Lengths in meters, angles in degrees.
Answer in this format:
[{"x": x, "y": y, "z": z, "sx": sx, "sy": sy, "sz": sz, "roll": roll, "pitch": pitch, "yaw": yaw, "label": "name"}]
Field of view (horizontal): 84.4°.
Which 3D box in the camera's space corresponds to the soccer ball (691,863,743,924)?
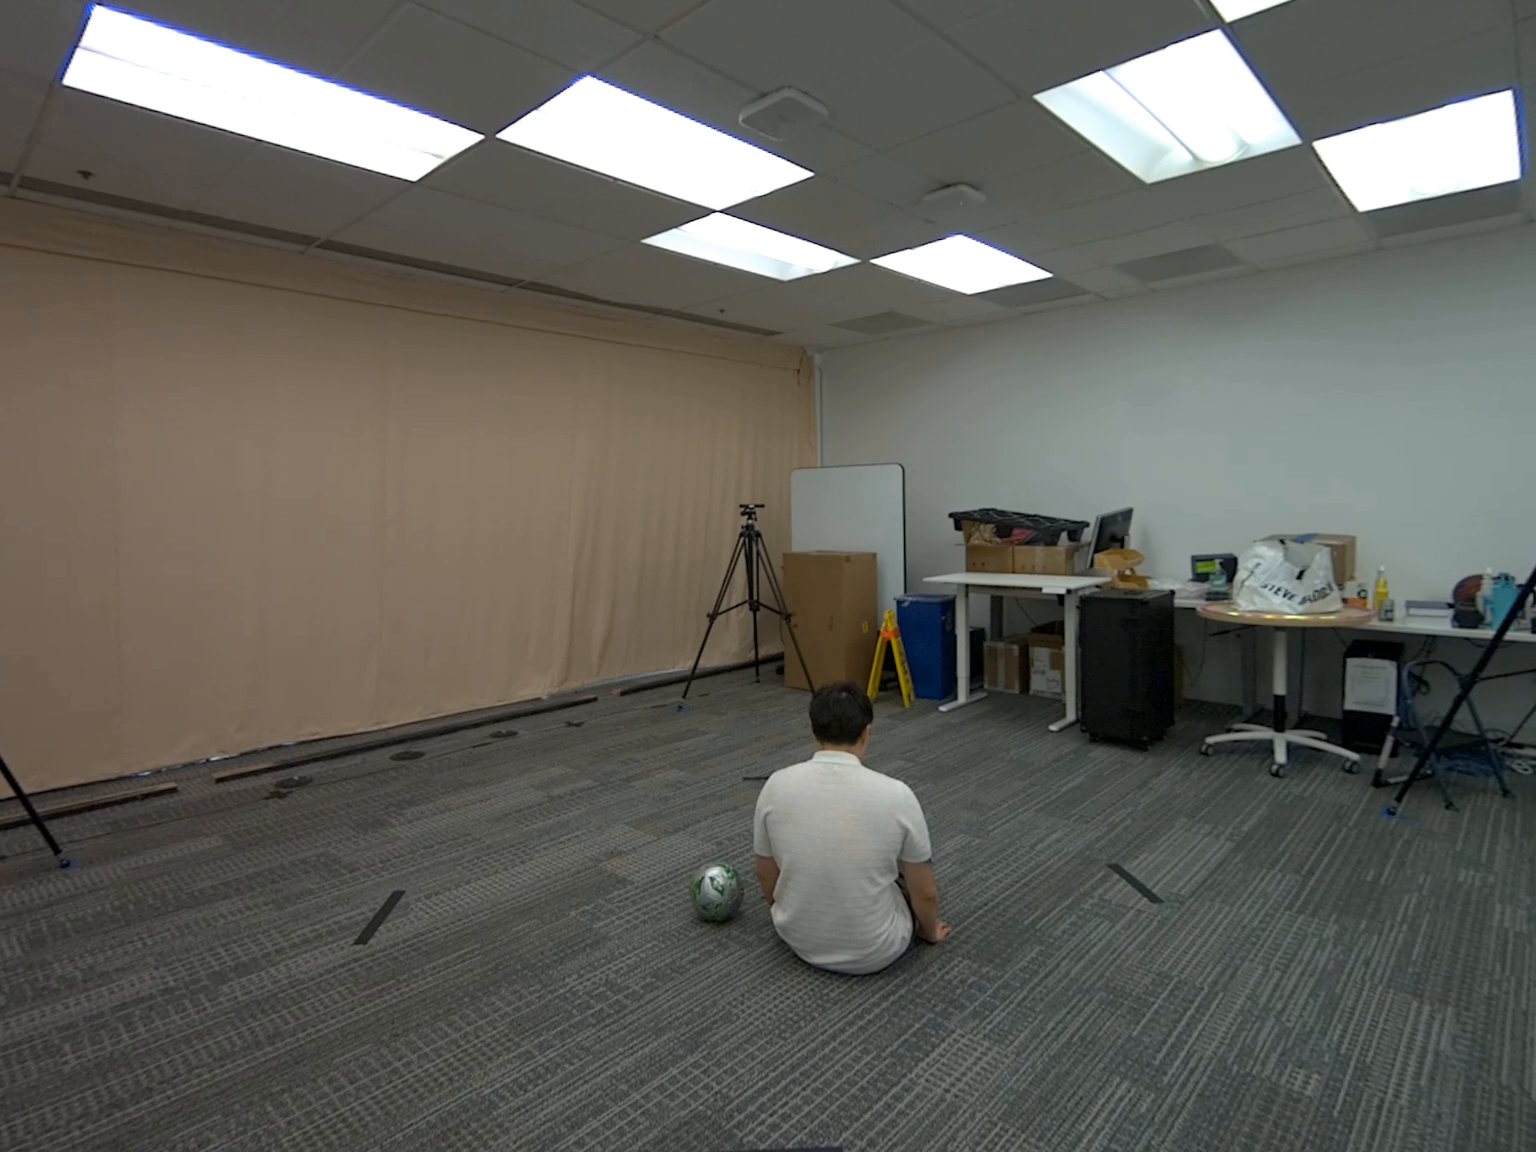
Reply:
[{"x": -0.169, "y": 1.062, "z": 2.843, "sx": 0.187, "sy": 0.187, "sz": 0.188, "roll": -1, "pitch": 4, "yaw": -2, "label": "soccer ball"}]
